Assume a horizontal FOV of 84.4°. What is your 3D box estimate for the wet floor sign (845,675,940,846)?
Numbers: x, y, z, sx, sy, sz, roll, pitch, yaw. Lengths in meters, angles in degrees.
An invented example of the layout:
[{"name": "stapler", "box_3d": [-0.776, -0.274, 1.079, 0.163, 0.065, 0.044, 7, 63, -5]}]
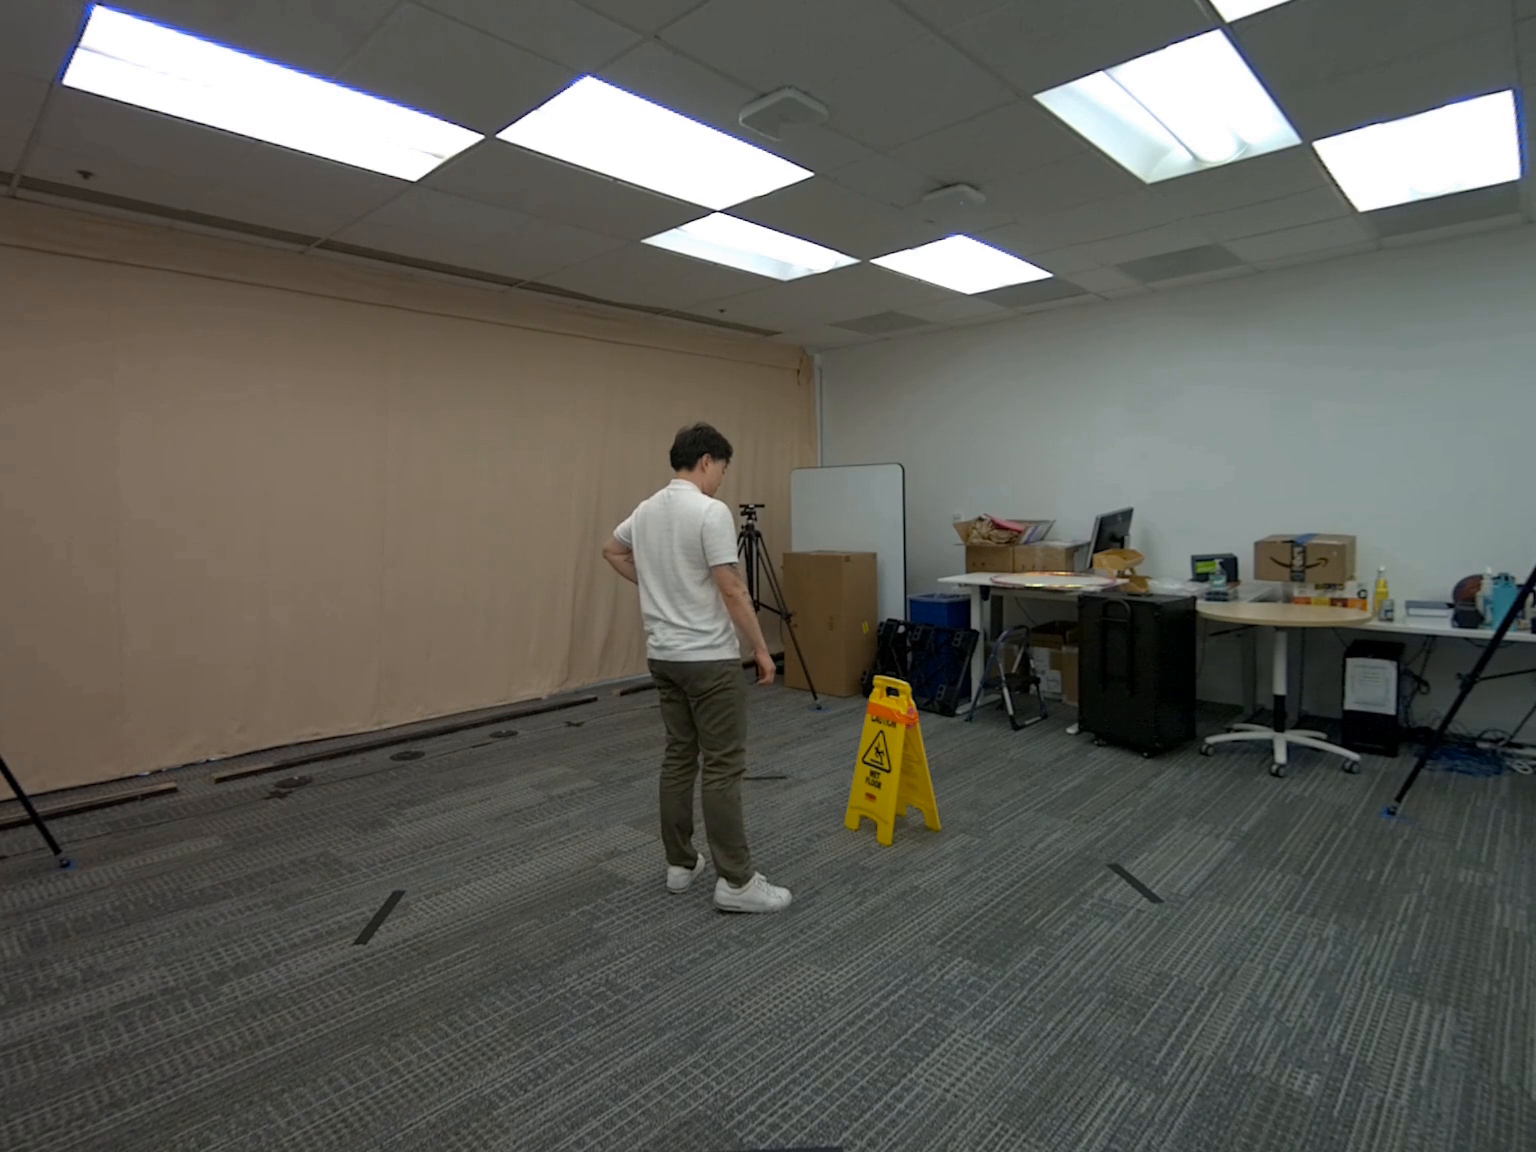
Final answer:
[{"name": "wet floor sign", "box_3d": [0.530, 0.757, 3.583, 0.281, 0.645, 0.291, -3, 3, -34]}]
